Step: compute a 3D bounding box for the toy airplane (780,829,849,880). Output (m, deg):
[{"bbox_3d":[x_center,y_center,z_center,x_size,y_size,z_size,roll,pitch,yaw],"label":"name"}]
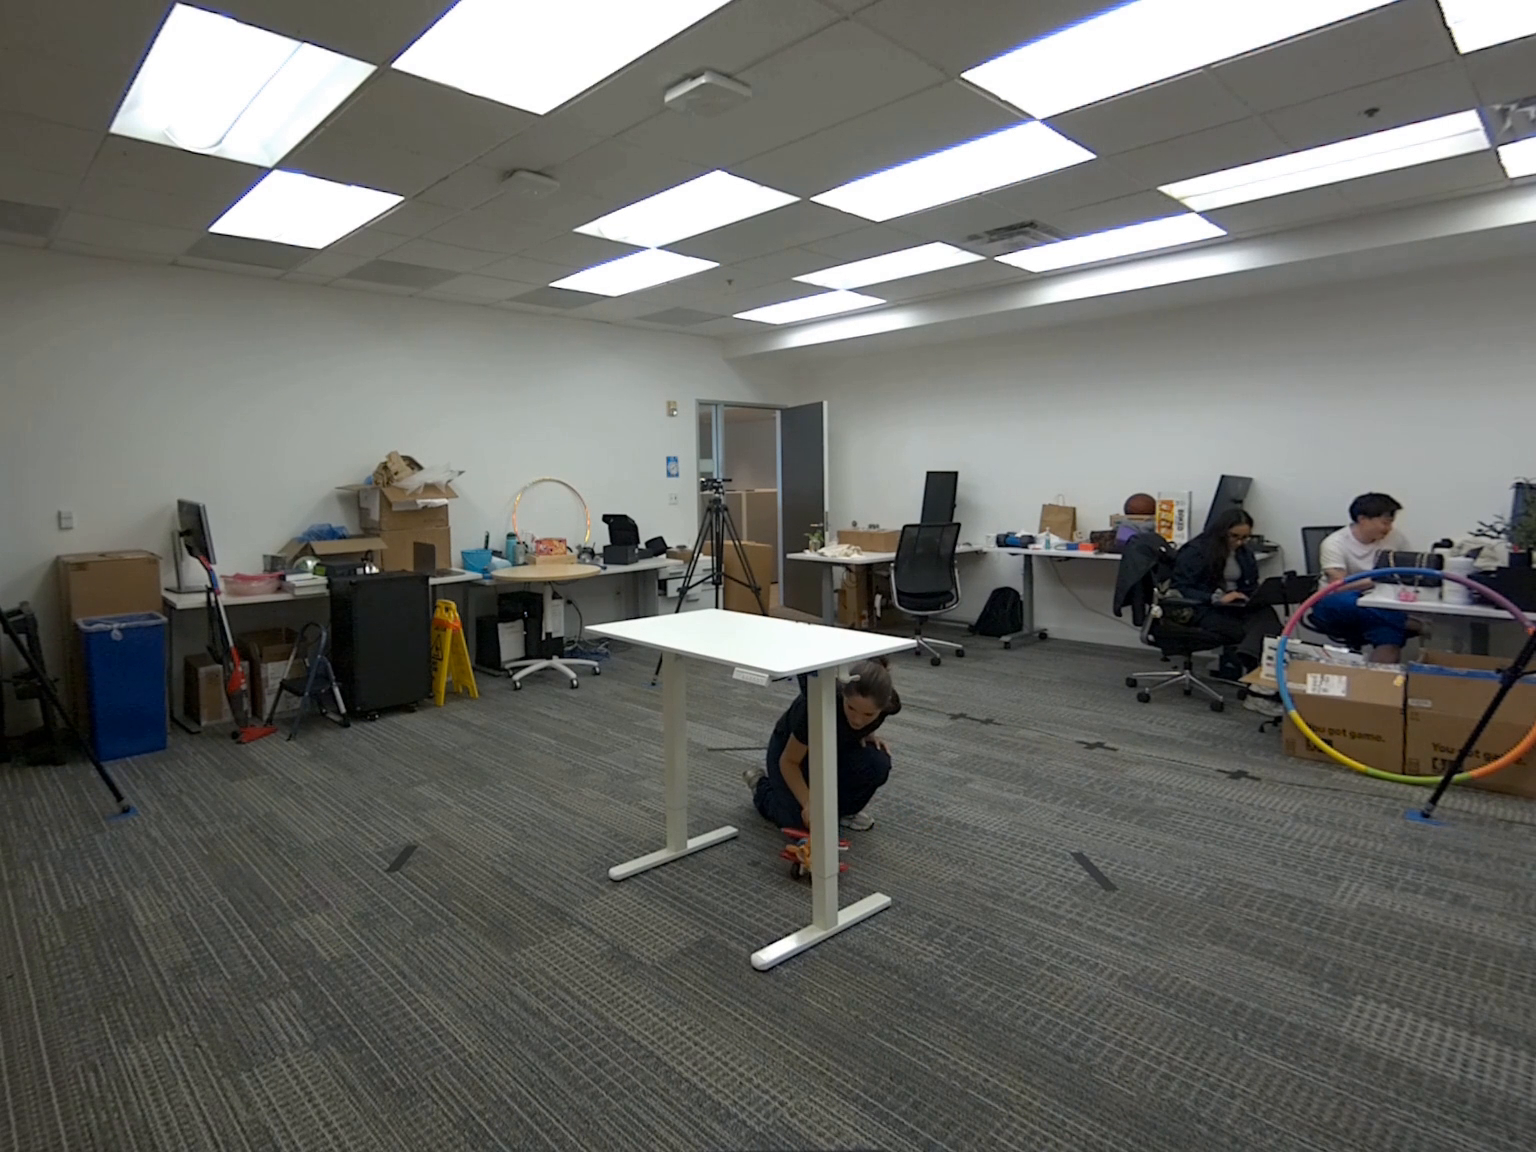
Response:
[{"bbox_3d":[0.156,0.981,3.053,0.252,0.155,0.260,-1,6,2],"label":"toy airplane"}]
